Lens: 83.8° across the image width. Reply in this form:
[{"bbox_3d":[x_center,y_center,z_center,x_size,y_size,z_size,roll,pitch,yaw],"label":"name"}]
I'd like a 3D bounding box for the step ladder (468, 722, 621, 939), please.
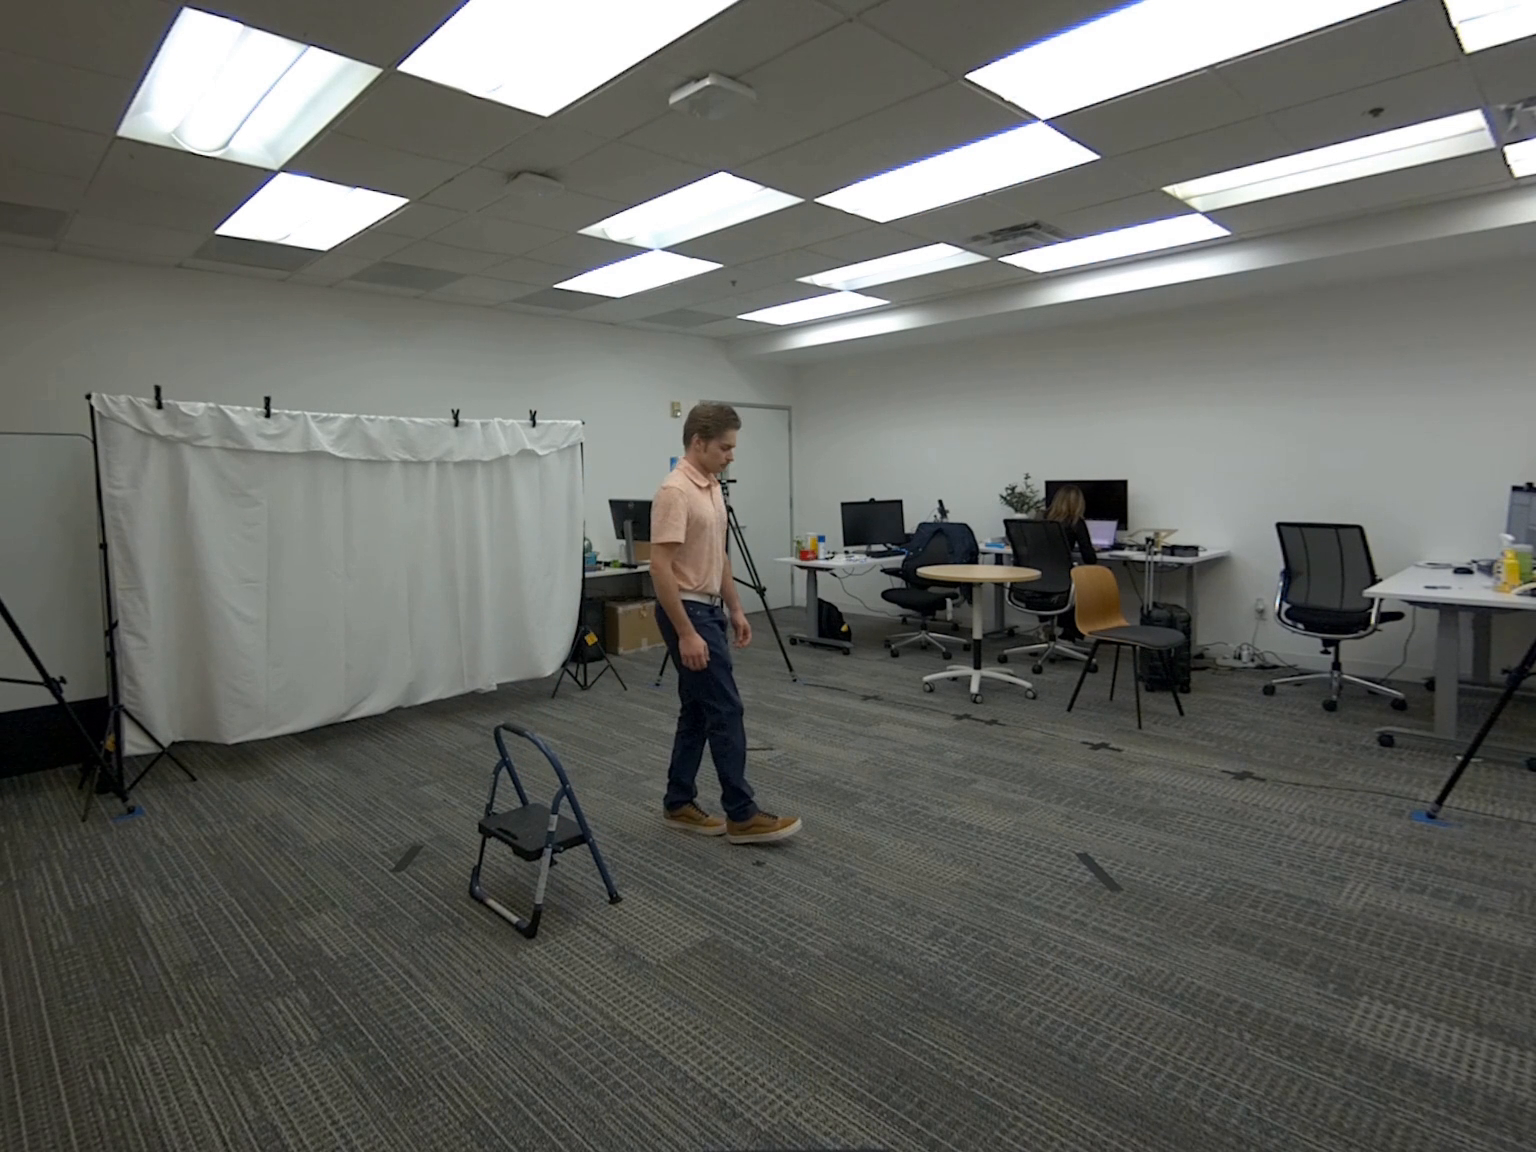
[{"bbox_3d":[-0.763,0.787,2.868,0.444,0.604,0.340,2,6,45],"label":"step ladder"}]
